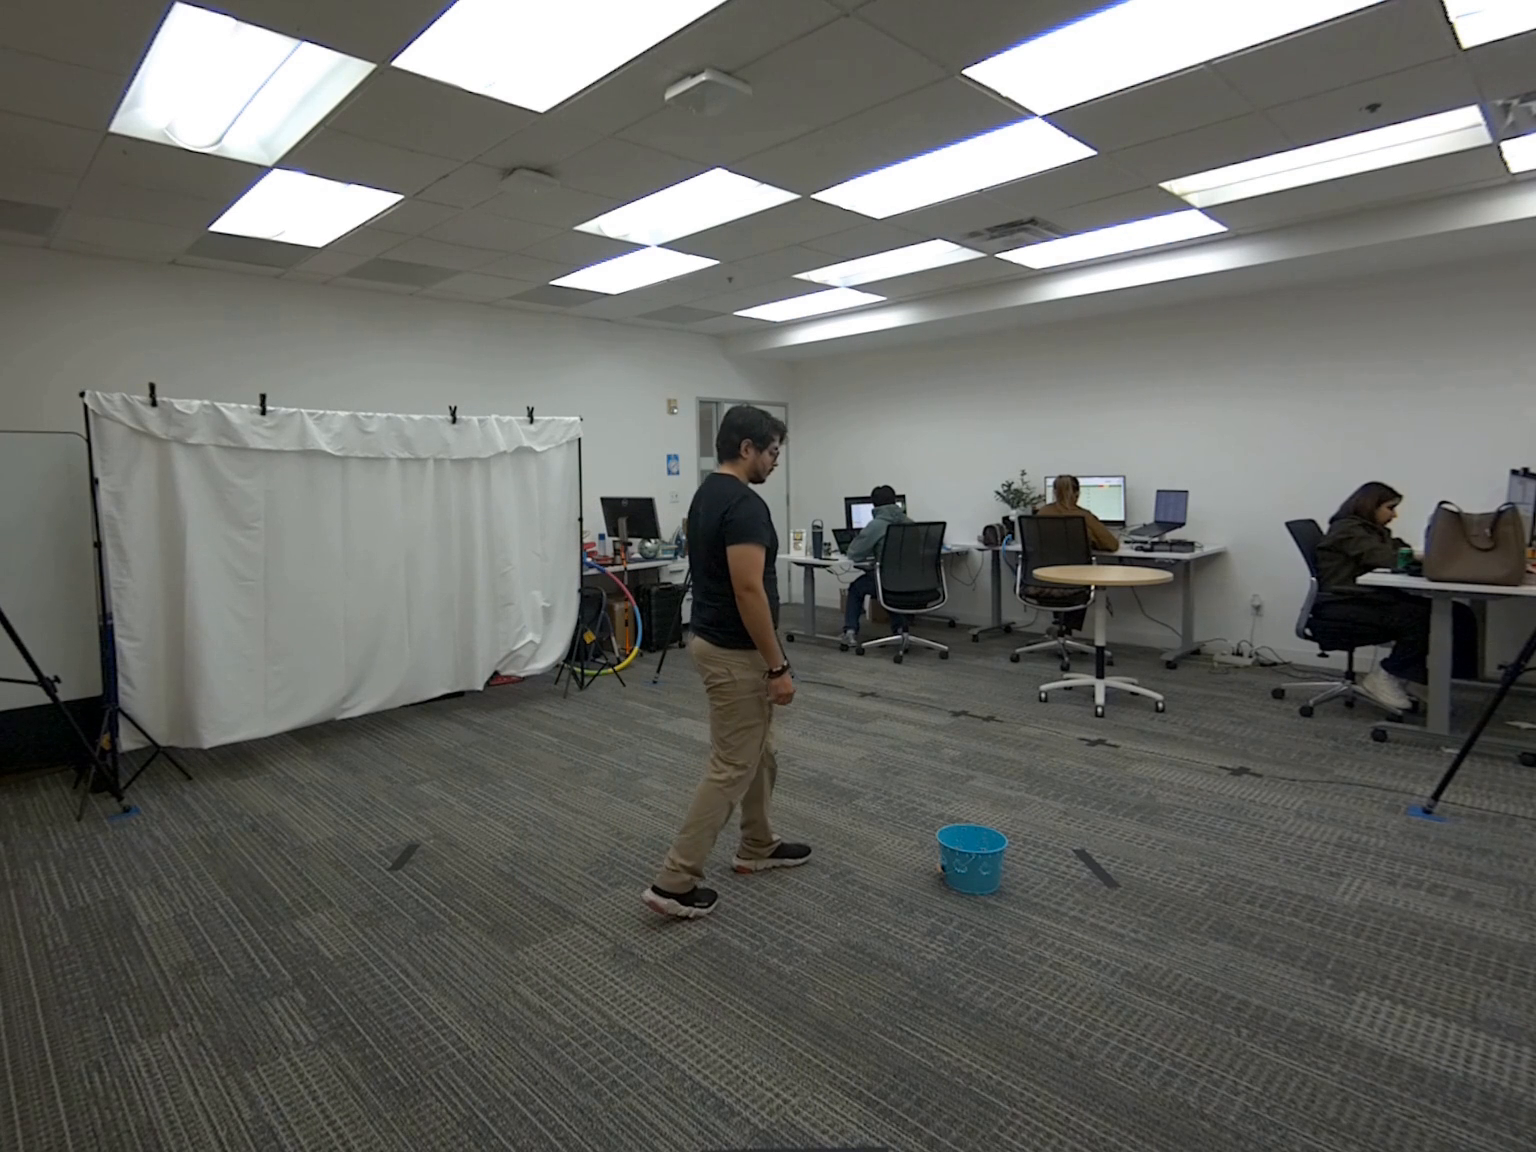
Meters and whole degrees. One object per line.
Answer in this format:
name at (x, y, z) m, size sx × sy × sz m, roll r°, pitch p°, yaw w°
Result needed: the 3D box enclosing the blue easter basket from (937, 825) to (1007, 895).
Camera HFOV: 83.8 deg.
blue easter basket at (0.694, 0.964, 2.915) m, size 0.243 × 0.155 × 0.245 m, roll -1°, pitch 5°, yaw -2°
